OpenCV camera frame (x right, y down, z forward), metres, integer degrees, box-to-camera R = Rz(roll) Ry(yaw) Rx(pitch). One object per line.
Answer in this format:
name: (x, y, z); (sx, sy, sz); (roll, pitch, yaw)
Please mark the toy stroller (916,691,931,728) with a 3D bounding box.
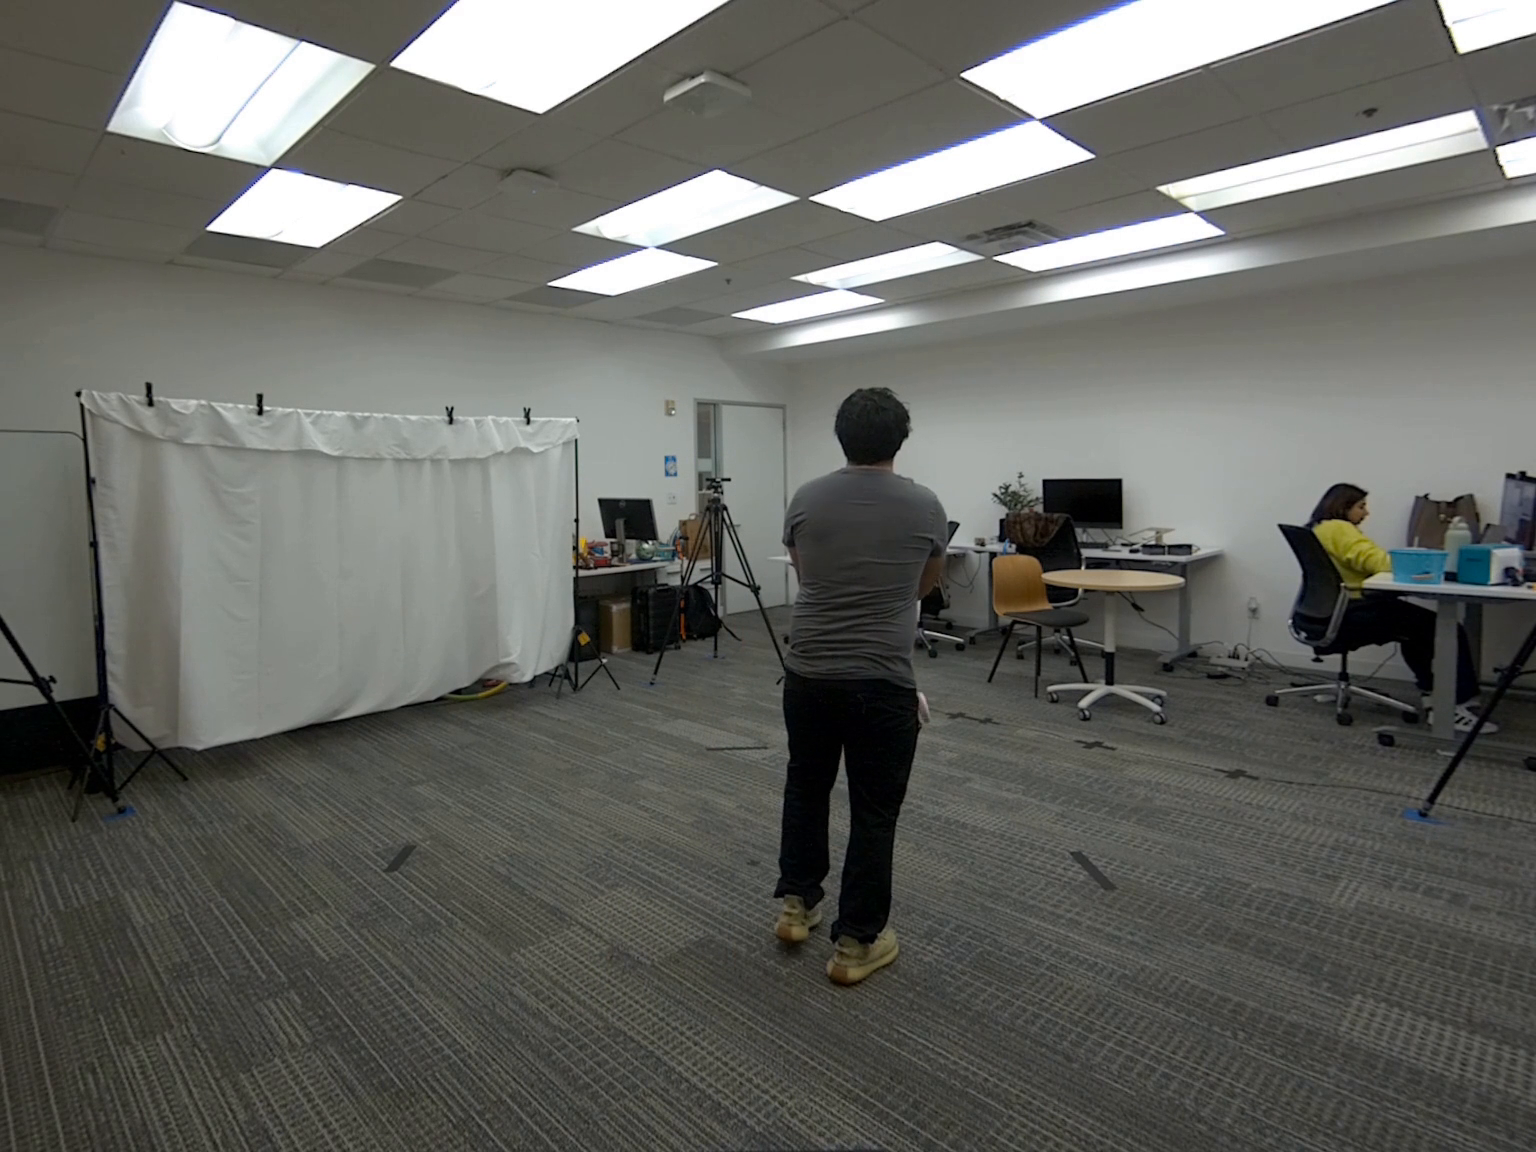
toy stroller: (0.389, 0.335, 3.112); (0.283, 0.522, 0.348); (-16, 22, 7)
